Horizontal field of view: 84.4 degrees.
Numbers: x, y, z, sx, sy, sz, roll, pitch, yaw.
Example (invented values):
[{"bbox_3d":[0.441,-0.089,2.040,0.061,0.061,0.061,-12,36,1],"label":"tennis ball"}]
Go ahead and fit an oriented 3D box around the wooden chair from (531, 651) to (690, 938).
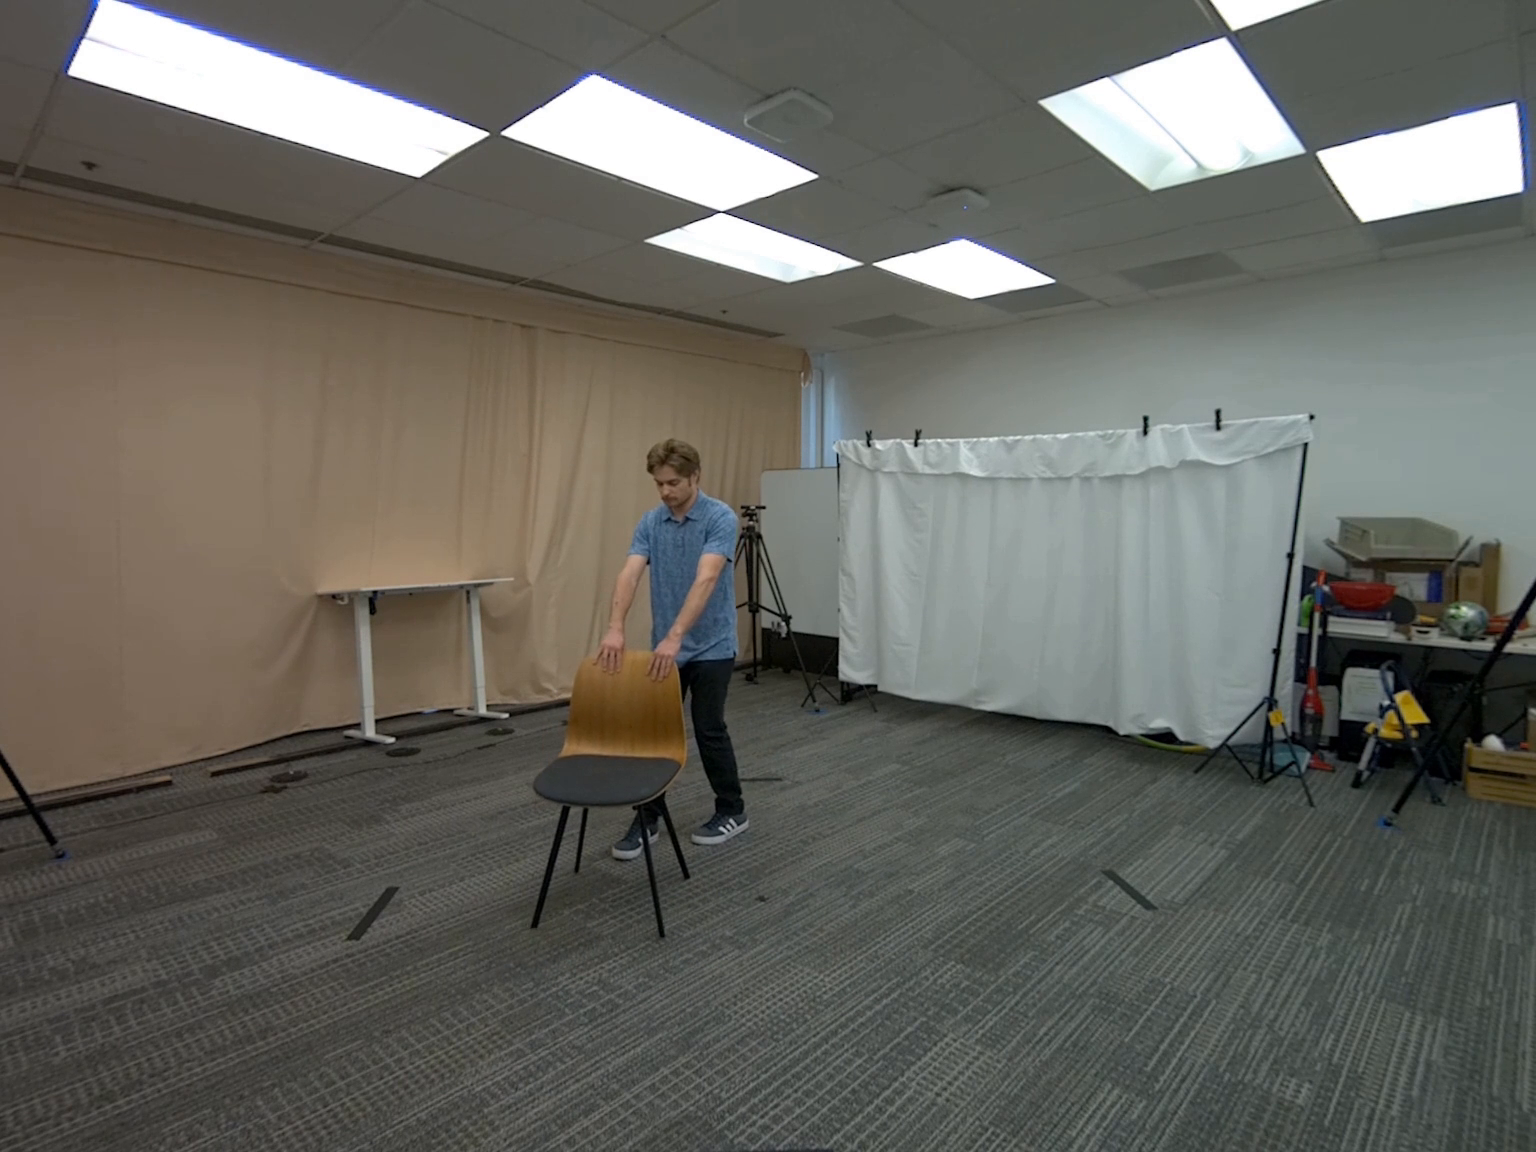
[{"bbox_3d":[-0.532,0.721,2.931,0.483,0.878,0.518,0,-1,8],"label":"wooden chair"}]
